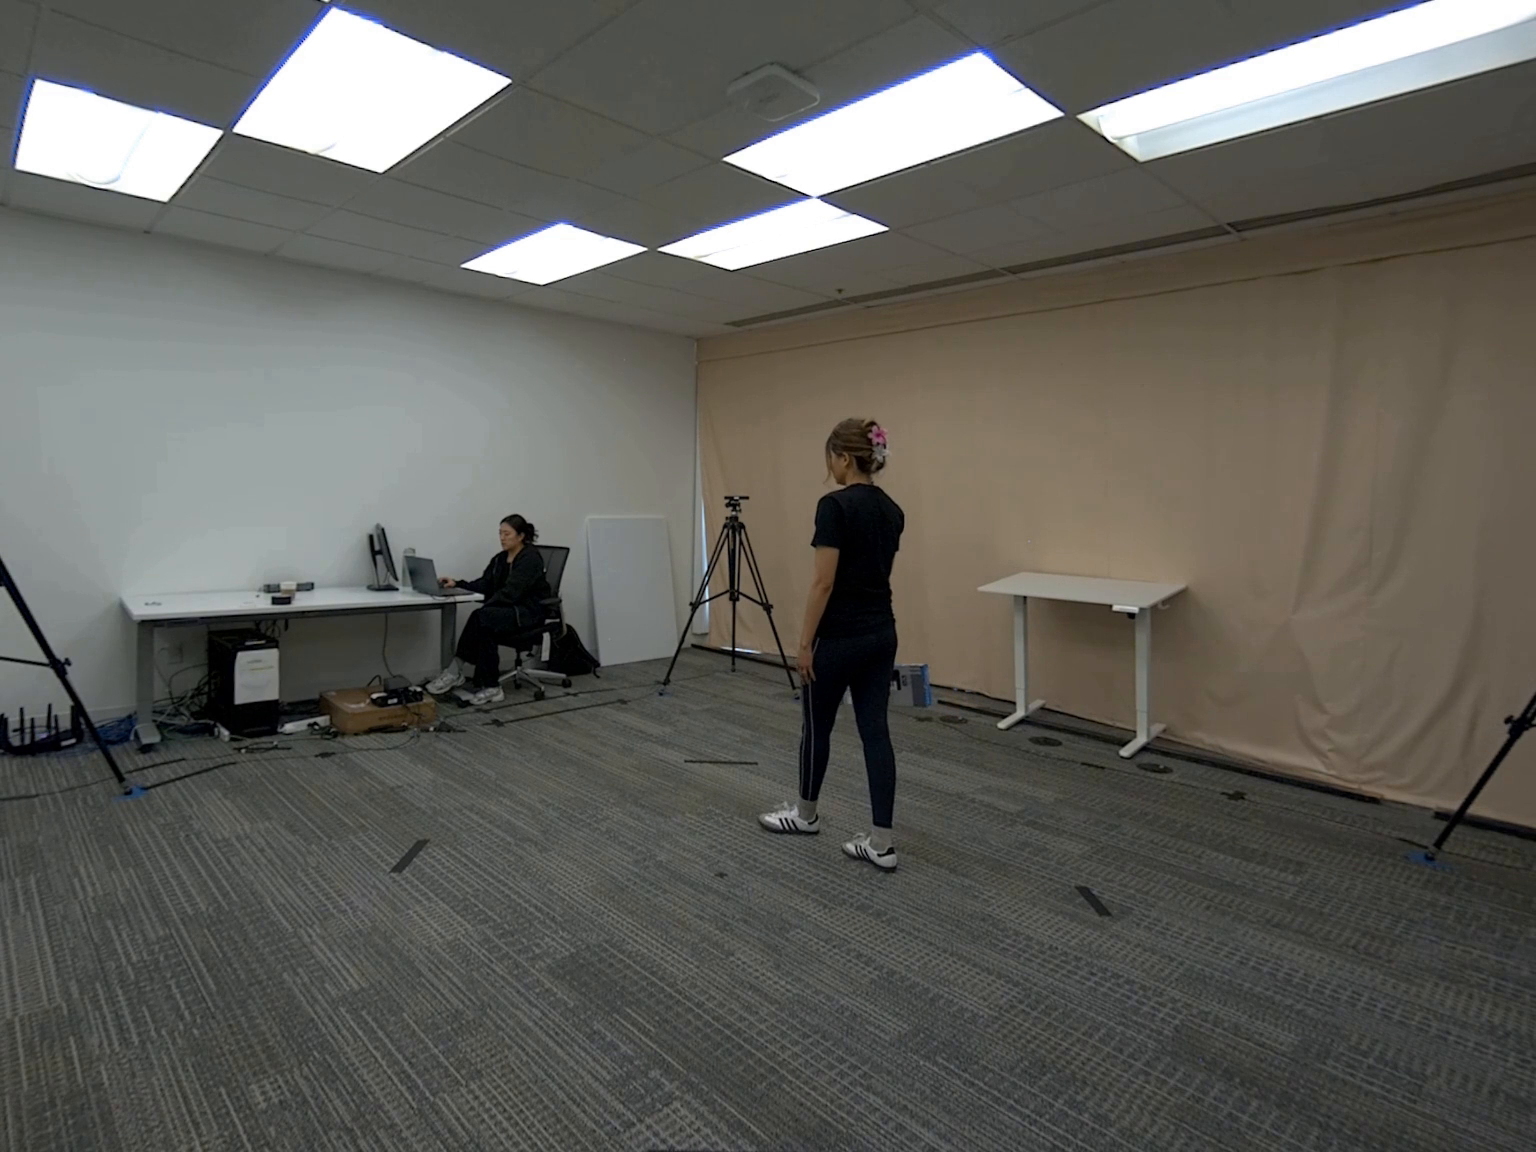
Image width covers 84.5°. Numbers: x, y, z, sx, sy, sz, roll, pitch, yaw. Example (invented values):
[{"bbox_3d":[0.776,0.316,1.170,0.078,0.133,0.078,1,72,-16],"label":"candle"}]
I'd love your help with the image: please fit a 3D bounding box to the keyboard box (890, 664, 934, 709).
[{"bbox_3d":[0.468,0.467,3.596,0.446,0.176,0.058,-4,1,34],"label":"keyboard box"}]
